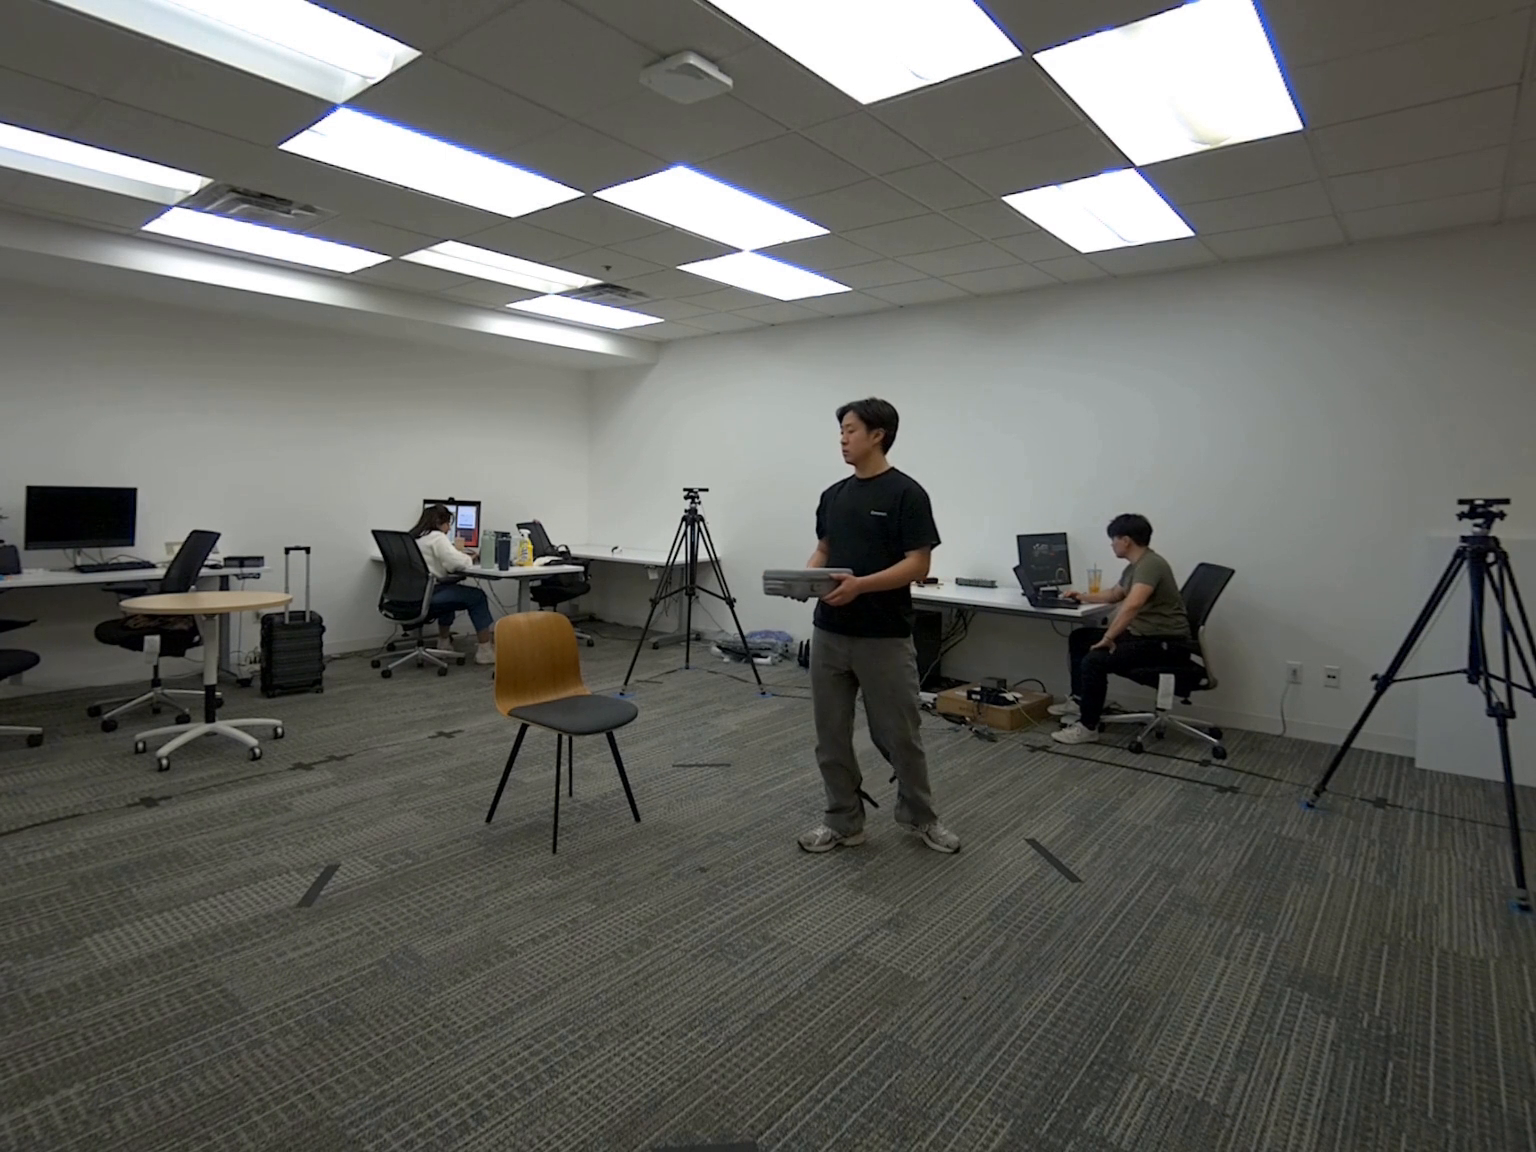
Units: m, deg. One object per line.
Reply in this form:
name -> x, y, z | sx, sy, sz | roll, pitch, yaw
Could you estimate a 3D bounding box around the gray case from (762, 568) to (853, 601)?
gray case -> 0.131, 0.022, 3.131 | 0.271, 0.103, 0.278 | 1, 3, 45
